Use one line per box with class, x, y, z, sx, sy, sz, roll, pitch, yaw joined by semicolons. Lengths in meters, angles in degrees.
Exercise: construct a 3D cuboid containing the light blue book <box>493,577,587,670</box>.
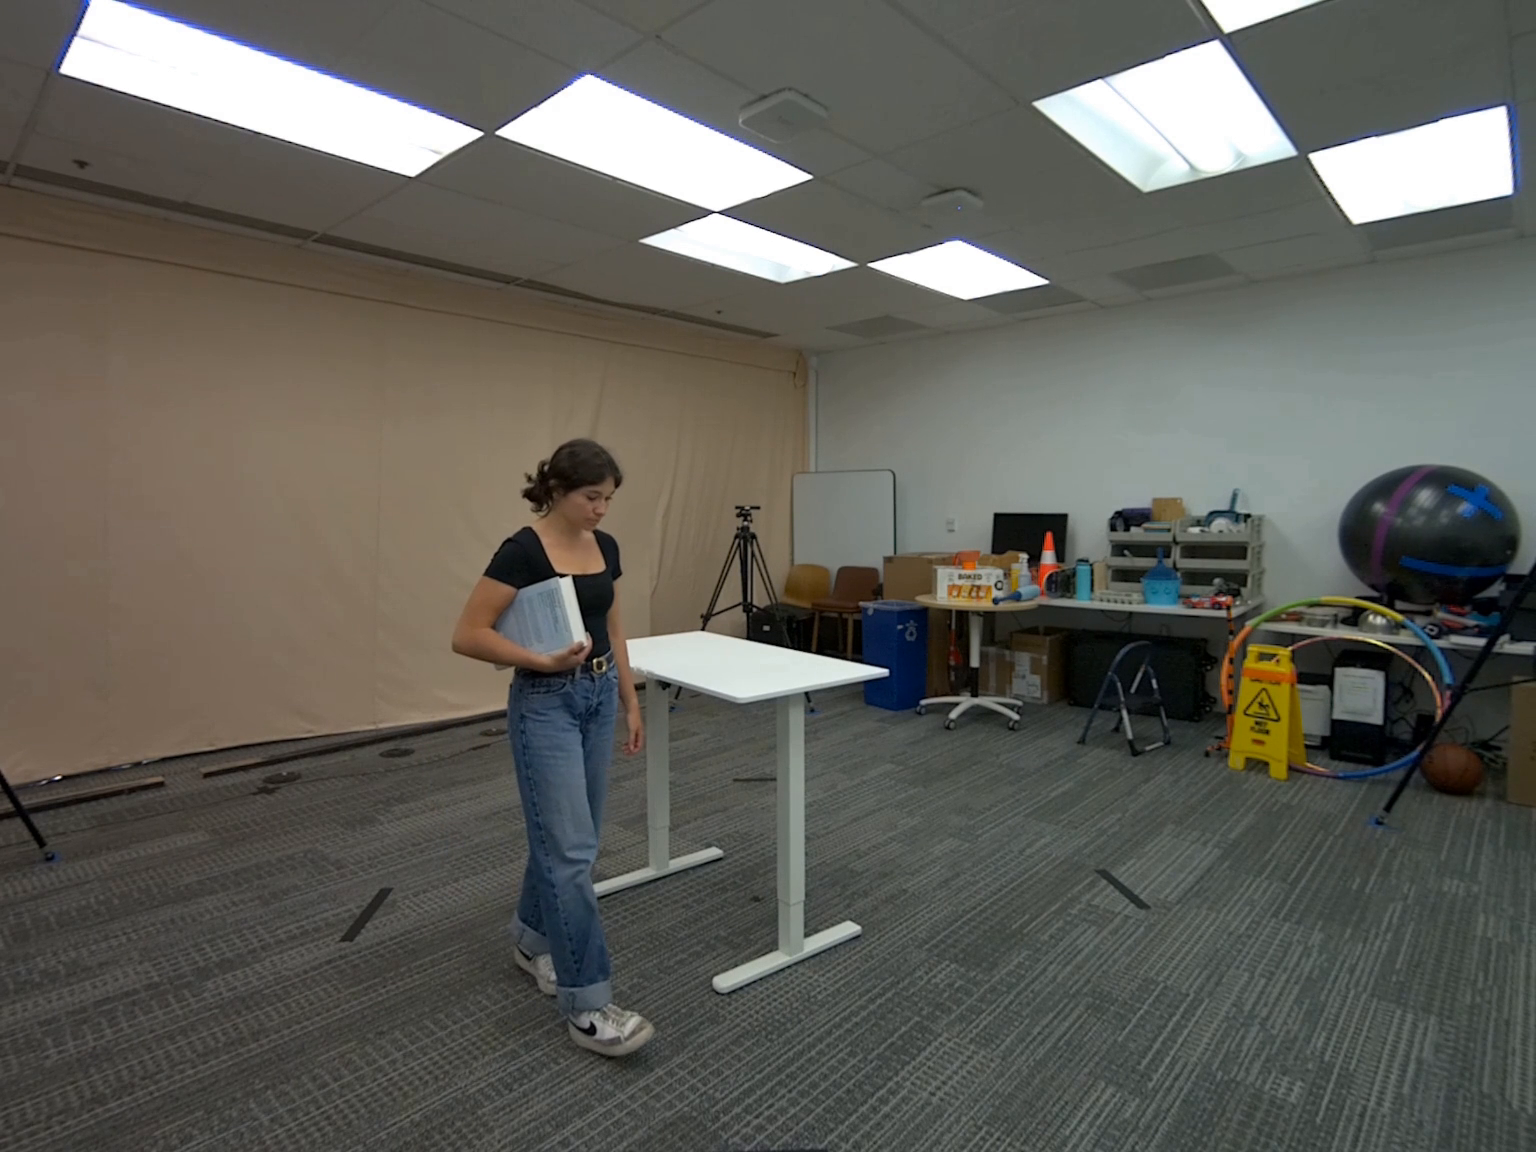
light blue book;-0.610;0.121;2.201;0.266;0.192;0.057;-15;-6;24
